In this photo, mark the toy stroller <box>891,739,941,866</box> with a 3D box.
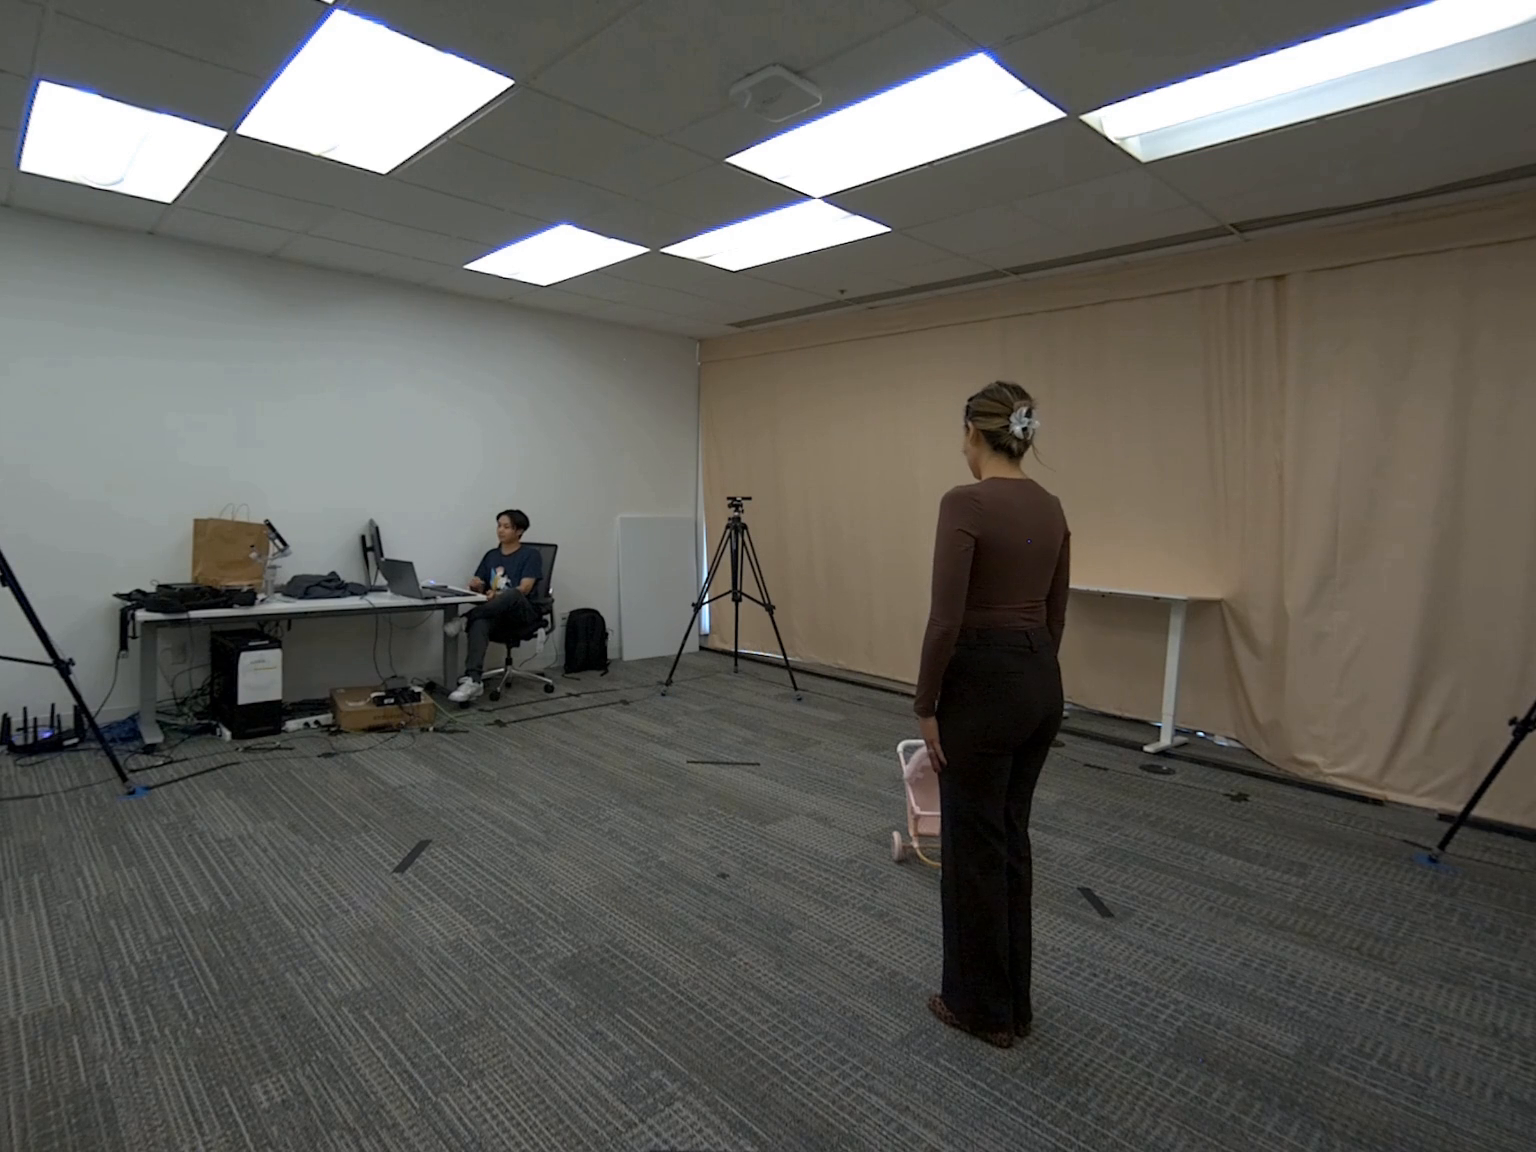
[{"bbox_3d":[0.624,0.889,3.209,0.281,0.540,0.338,1,-13,0],"label":"toy stroller"}]
